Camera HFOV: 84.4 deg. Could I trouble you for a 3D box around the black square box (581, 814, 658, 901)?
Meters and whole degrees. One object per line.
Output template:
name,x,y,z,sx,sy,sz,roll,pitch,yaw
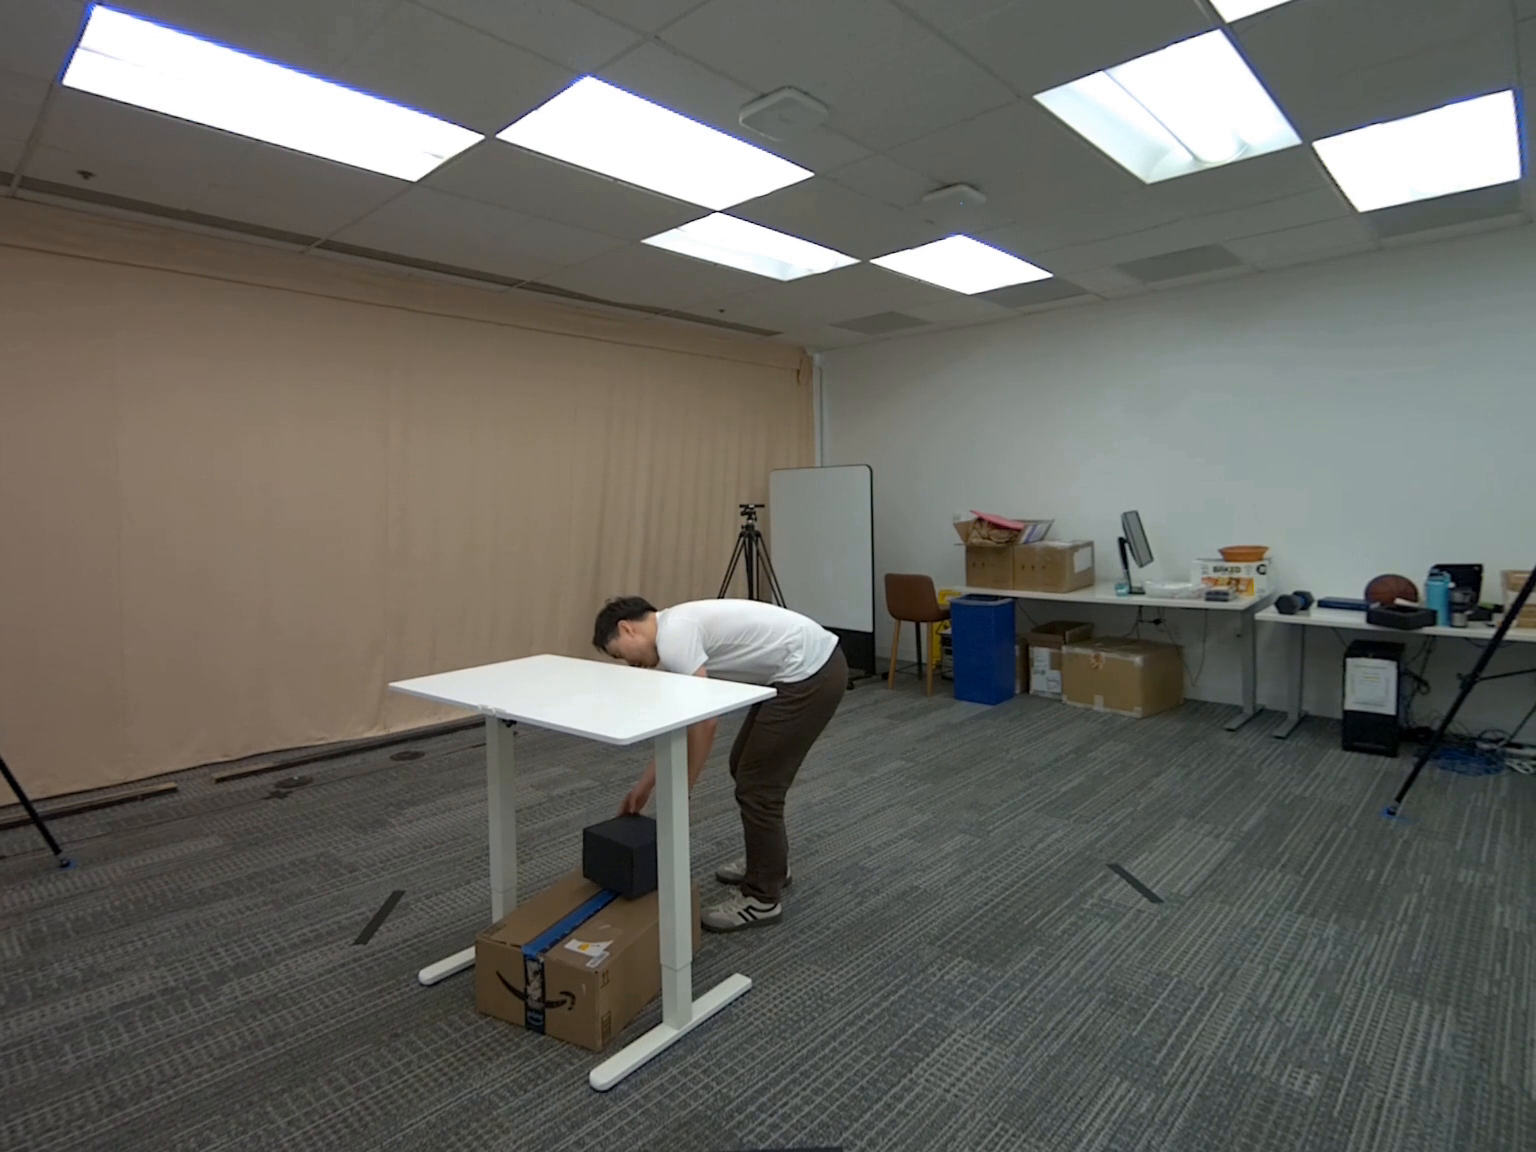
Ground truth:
black square box,-0.418,0.864,2.634,0.235,0.155,0.210,3,5,39
